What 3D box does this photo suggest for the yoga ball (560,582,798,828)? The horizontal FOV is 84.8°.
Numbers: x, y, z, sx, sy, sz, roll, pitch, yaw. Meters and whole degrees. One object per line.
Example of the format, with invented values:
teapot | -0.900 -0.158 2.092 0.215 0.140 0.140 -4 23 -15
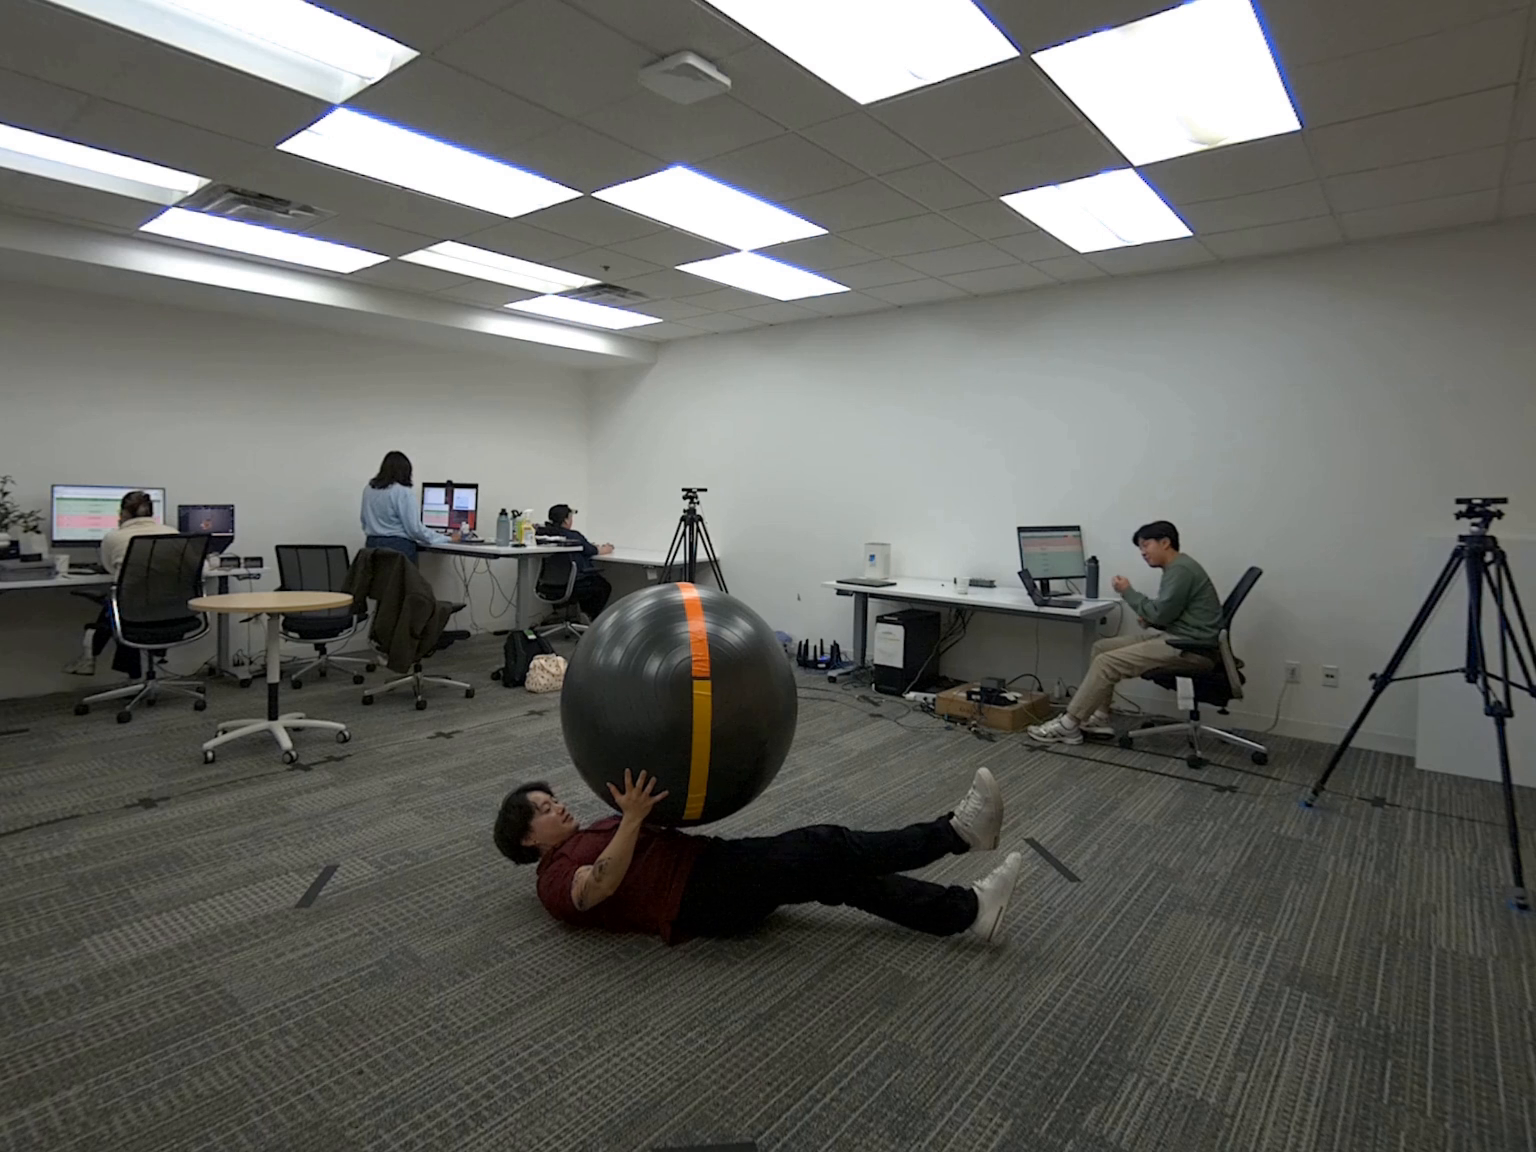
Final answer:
yoga ball | -0.289 0.405 2.722 0.757 0.755 0.762 1 4 -2
